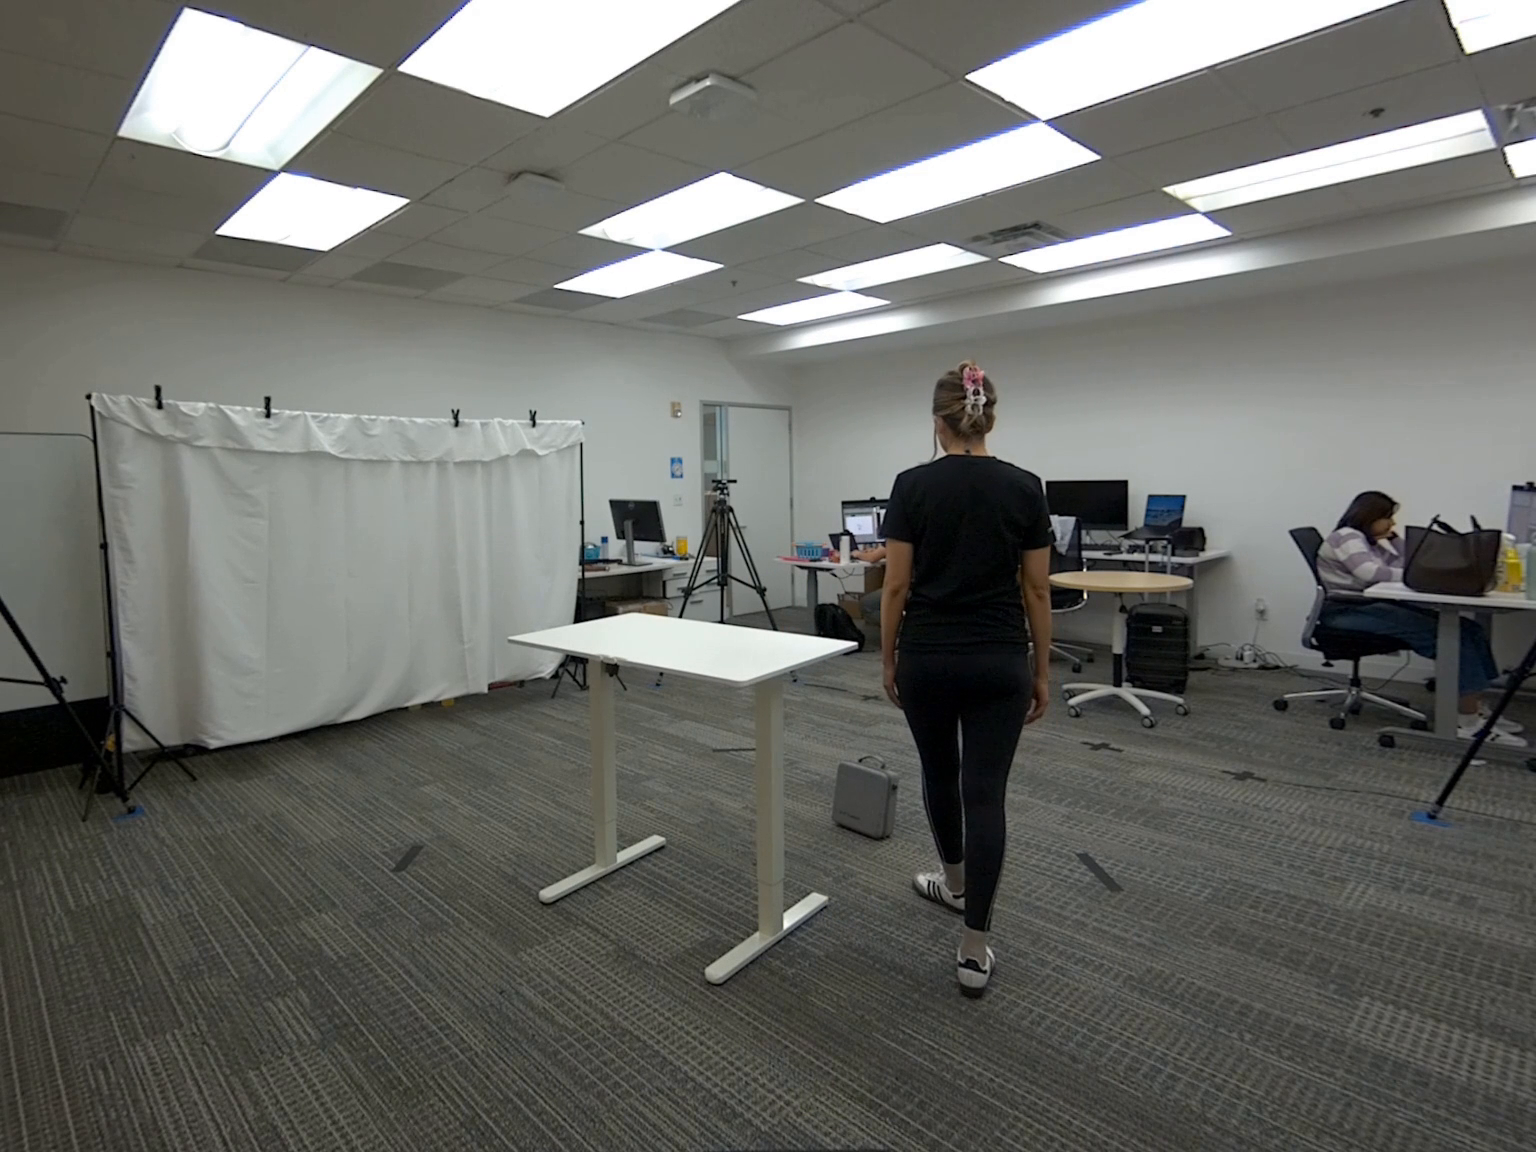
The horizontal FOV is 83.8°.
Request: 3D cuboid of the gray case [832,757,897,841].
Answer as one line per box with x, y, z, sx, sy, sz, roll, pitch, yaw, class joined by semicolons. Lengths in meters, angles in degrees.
0.389;0.878;3.397;0.101;0.261;0.265;10;-3;-41;gray case
